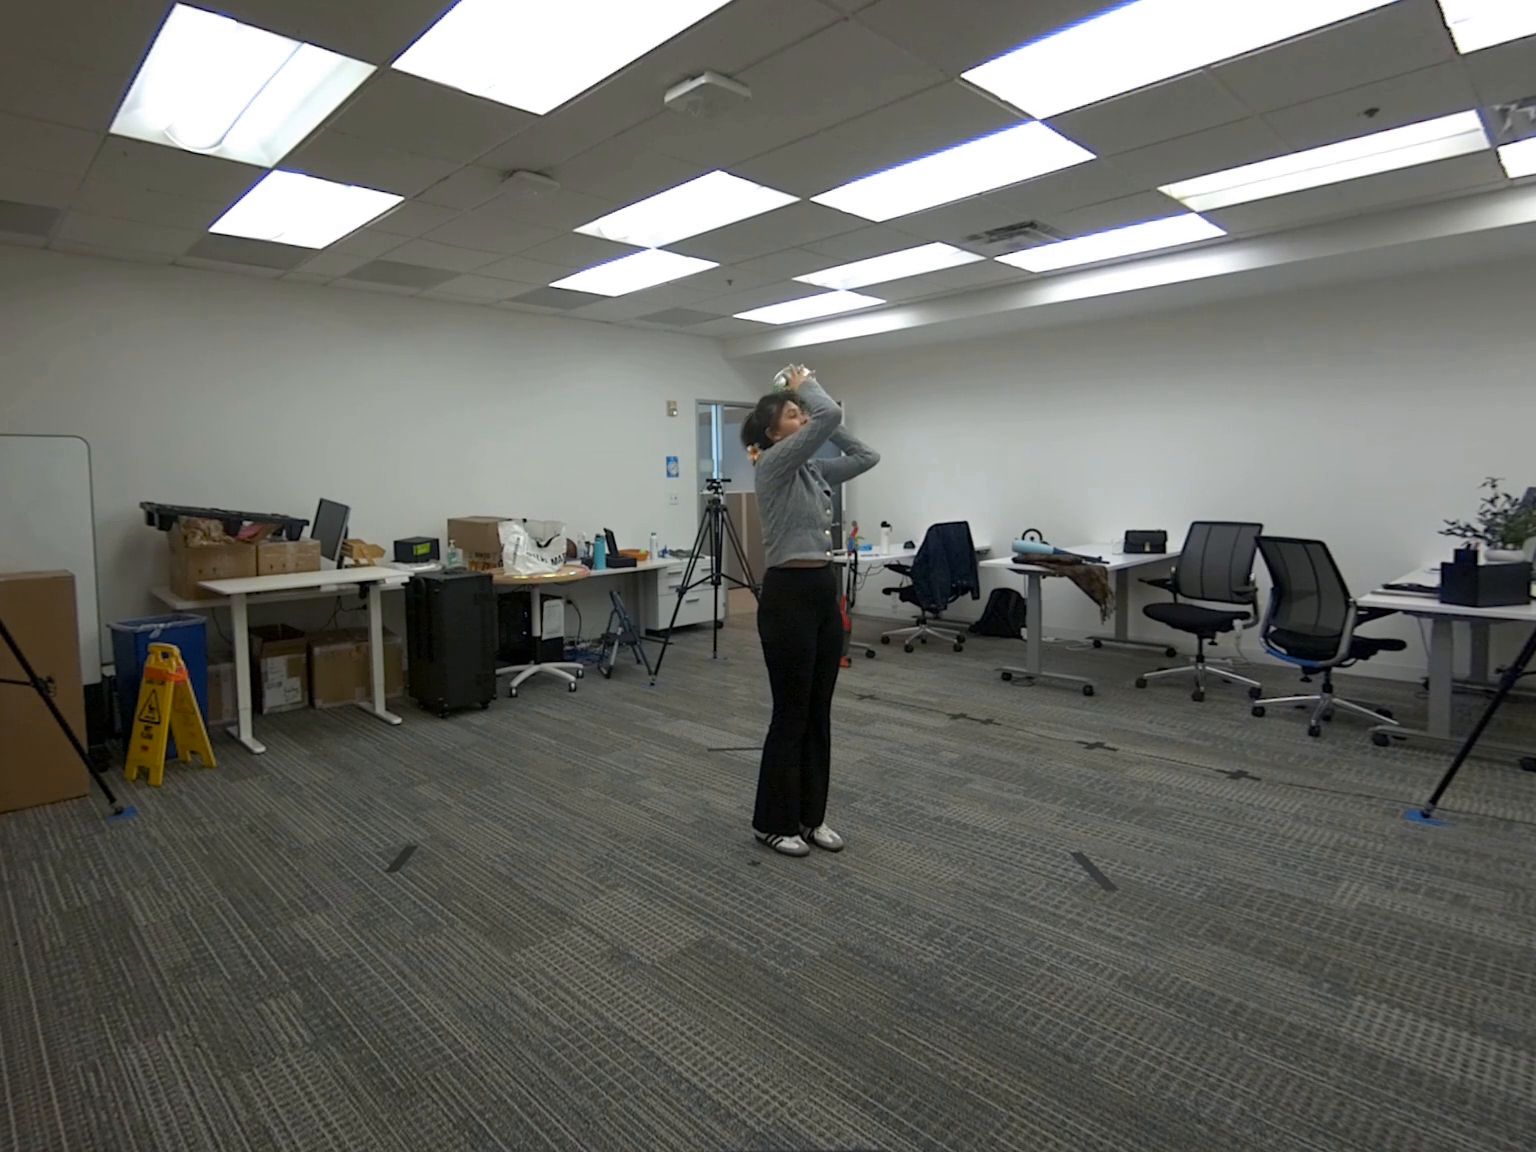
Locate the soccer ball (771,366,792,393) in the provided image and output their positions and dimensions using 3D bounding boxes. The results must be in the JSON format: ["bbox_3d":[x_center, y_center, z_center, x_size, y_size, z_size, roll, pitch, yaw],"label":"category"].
[{"bbox_3d":[0.112,-0.730,3.337,0.187,0.187,0.188,-1,5,-2],"label":"soccer ball"}]
